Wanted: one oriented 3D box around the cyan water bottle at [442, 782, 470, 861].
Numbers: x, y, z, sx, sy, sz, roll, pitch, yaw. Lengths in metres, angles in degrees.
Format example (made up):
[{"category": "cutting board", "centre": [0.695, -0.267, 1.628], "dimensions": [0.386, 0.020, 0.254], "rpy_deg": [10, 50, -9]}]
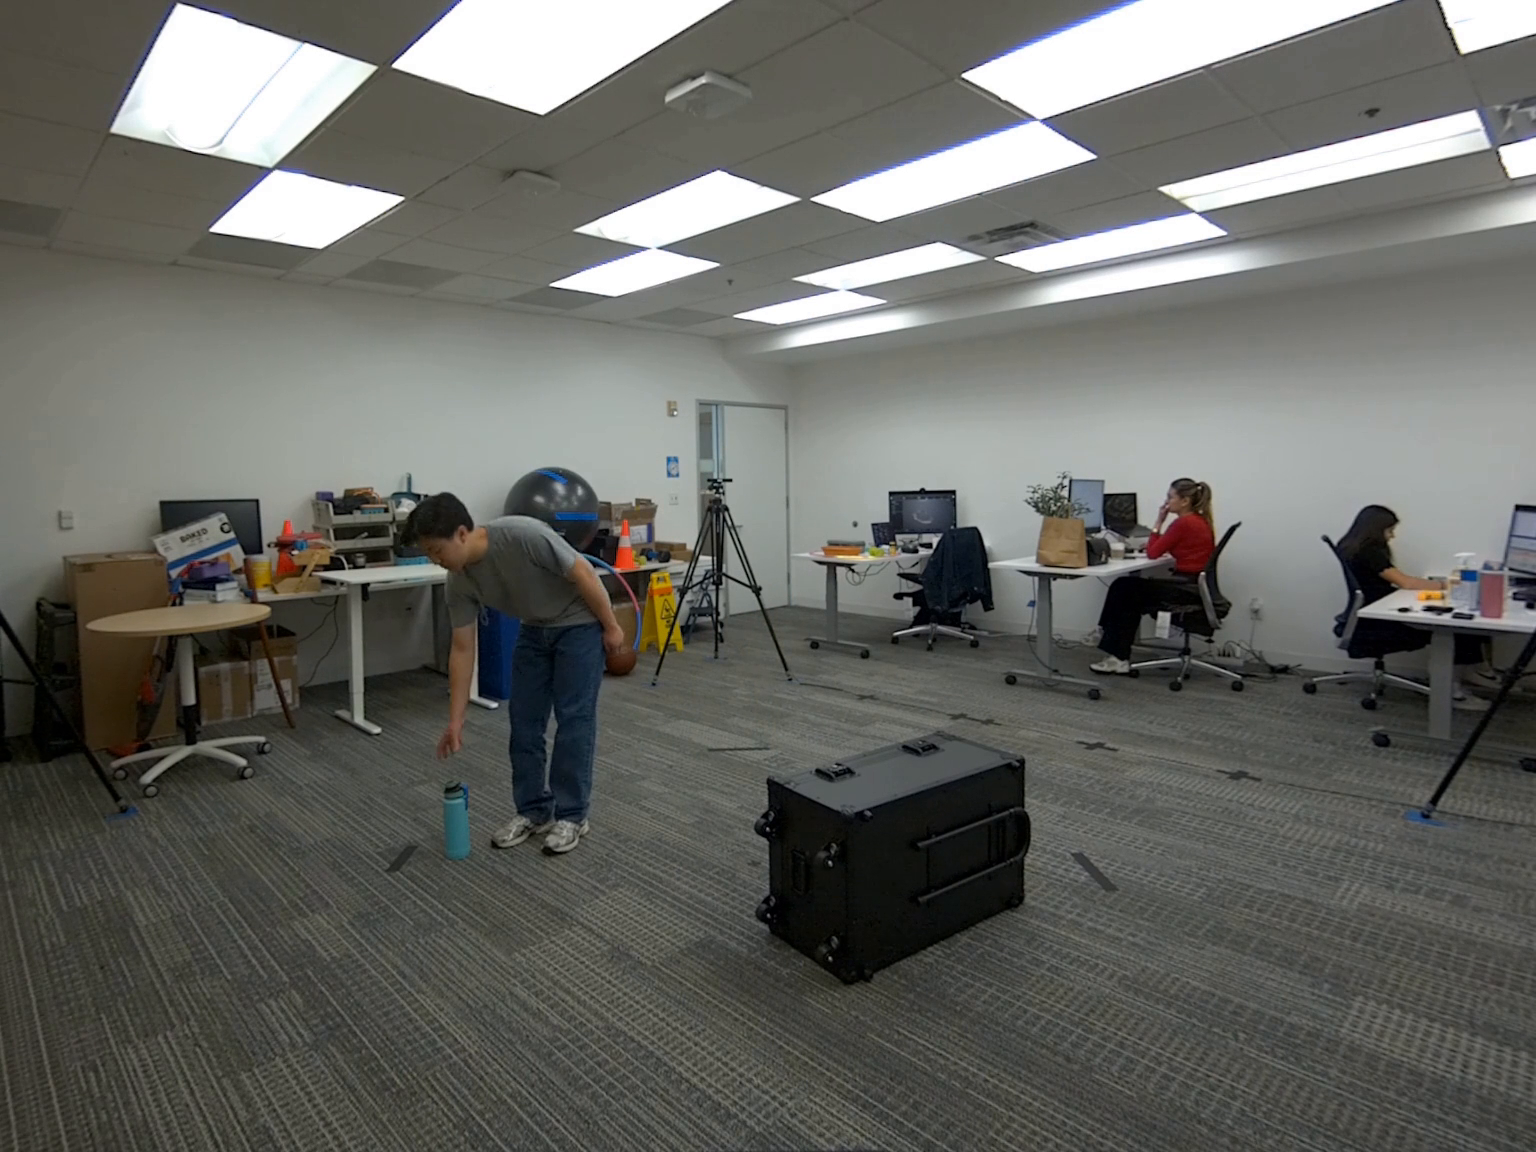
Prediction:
[{"category": "cyan water bottle", "centre": [-1.179, 0.919, 3.226], "dimensions": [0.092, 0.282, 0.093], "rpy_deg": [-1, 4, -2]}]
